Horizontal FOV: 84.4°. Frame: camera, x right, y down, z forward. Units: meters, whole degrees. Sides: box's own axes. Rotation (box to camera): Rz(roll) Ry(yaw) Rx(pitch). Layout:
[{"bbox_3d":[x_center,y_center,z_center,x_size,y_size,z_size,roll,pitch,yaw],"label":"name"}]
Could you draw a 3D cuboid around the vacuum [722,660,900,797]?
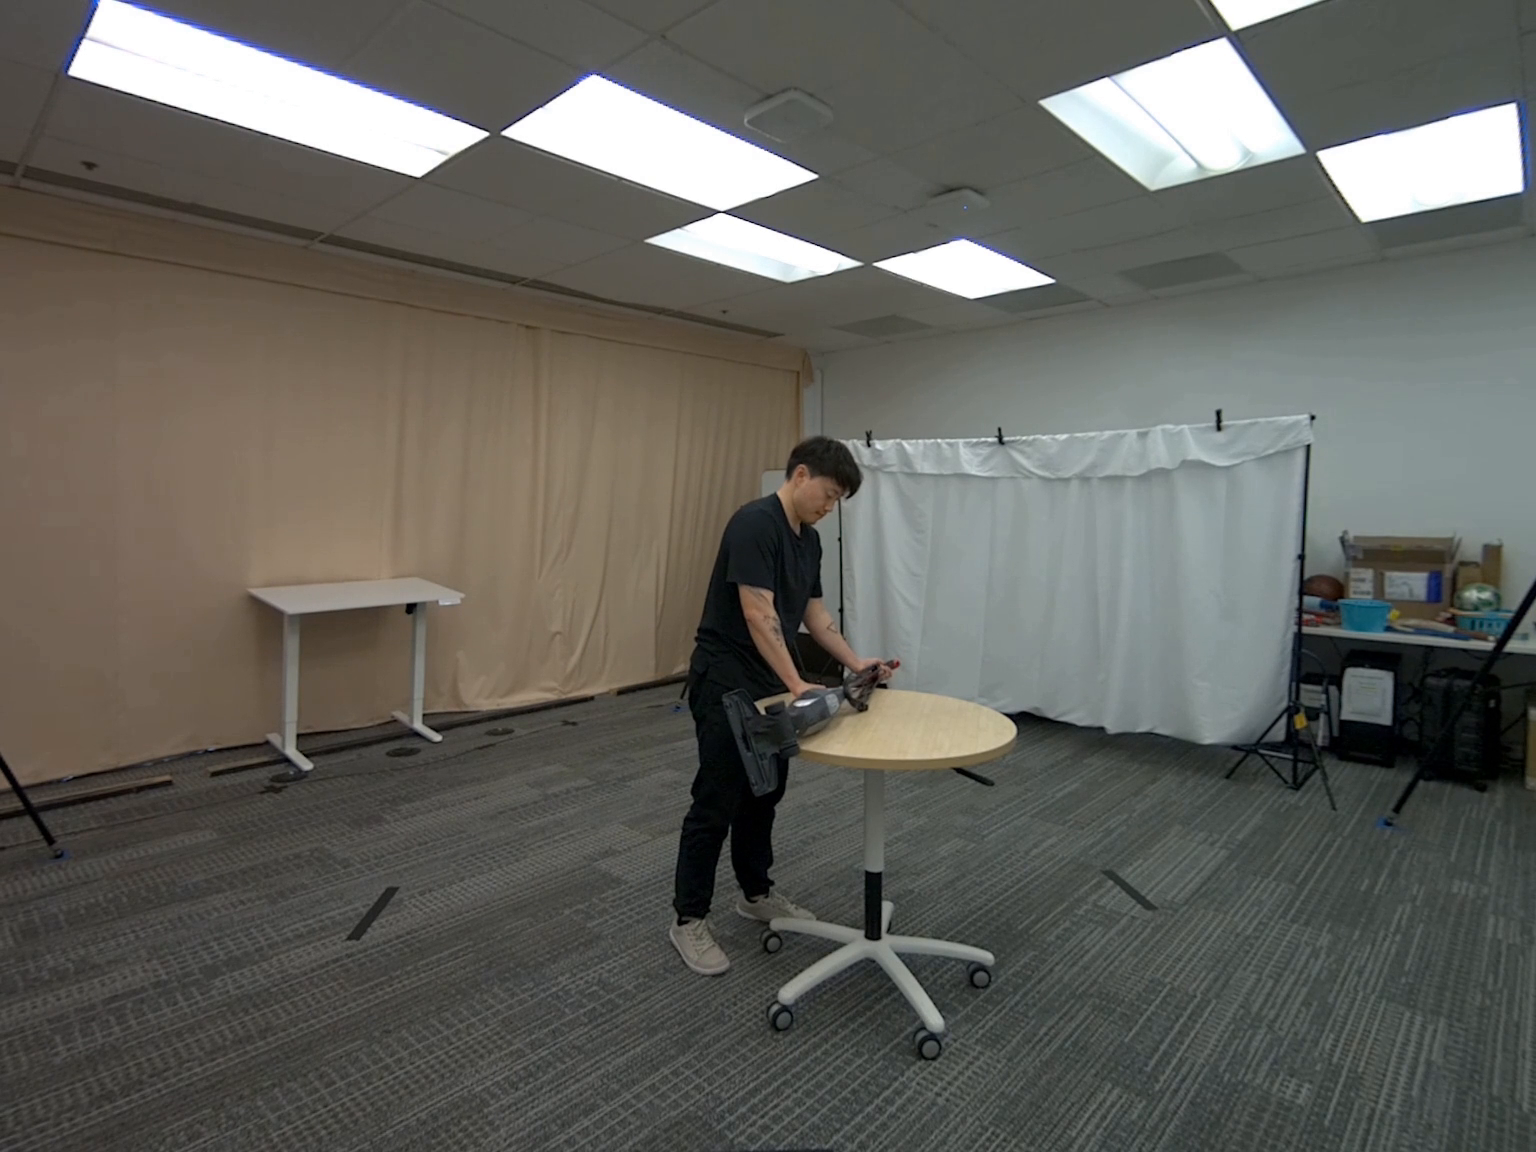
[{"bbox_3d":[0.208,0.366,2.497,0.146,0.255,1.024,-26,-7,24],"label":"vacuum"}]
